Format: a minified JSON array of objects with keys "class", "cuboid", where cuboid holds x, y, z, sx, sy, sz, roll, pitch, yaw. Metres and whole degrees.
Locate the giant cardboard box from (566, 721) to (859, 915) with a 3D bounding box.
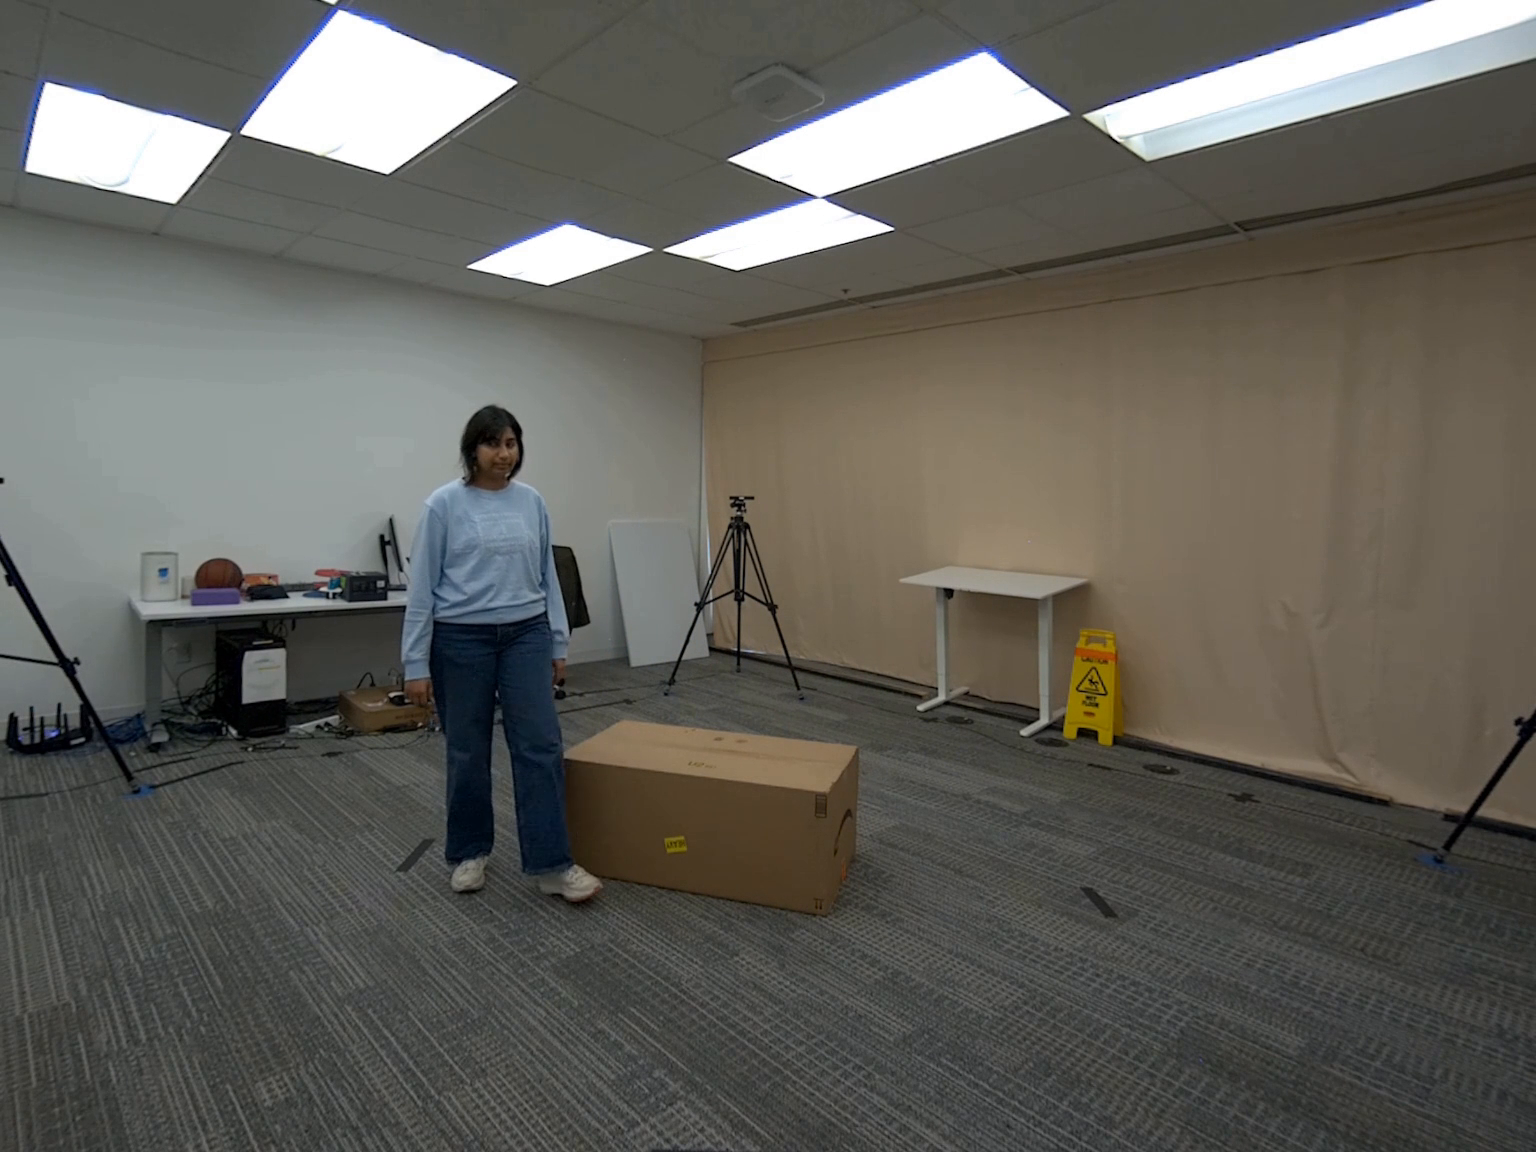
[{"class":"giant cardboard box","cuboid":[-0.214,0.876,3.215,1.041,0.425,0.571,3,5,17]}]
